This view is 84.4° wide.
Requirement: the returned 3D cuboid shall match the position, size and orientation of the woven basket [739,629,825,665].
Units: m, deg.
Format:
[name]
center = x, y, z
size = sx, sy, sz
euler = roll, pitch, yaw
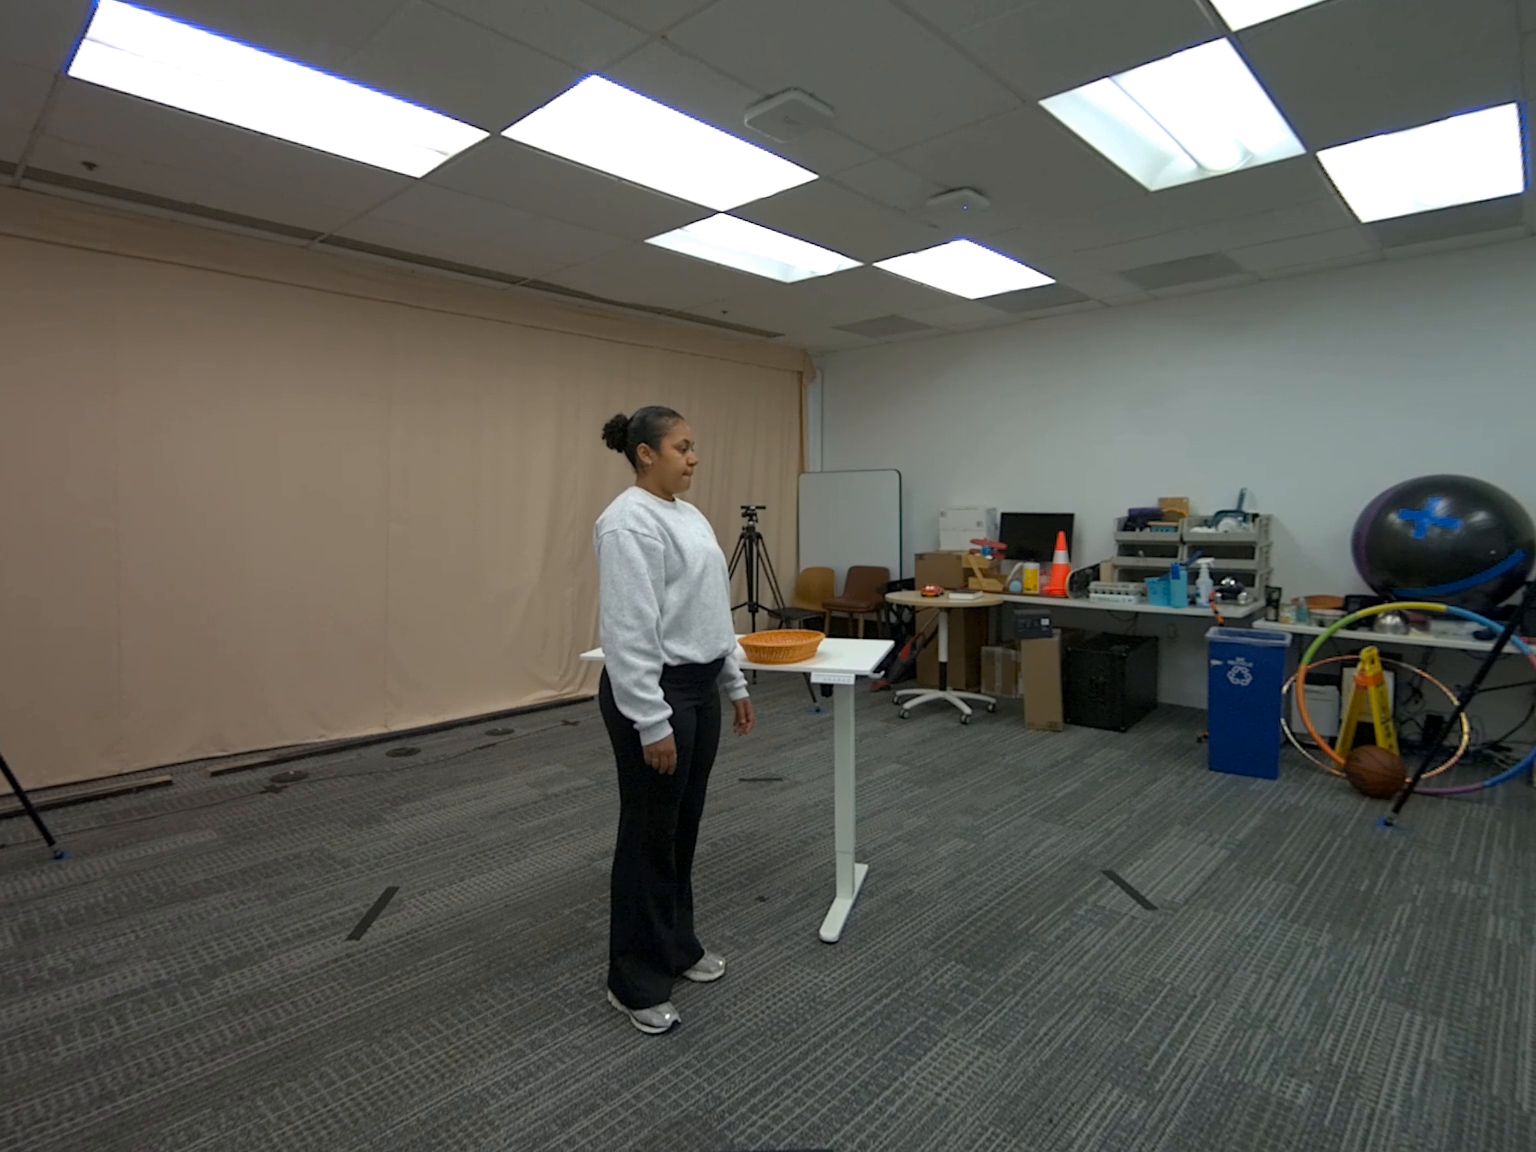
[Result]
[woven basket]
center = 0.045, 0.247, 2.818
size = 0.260, 0.073, 0.340
euler = 3, 6, 34
